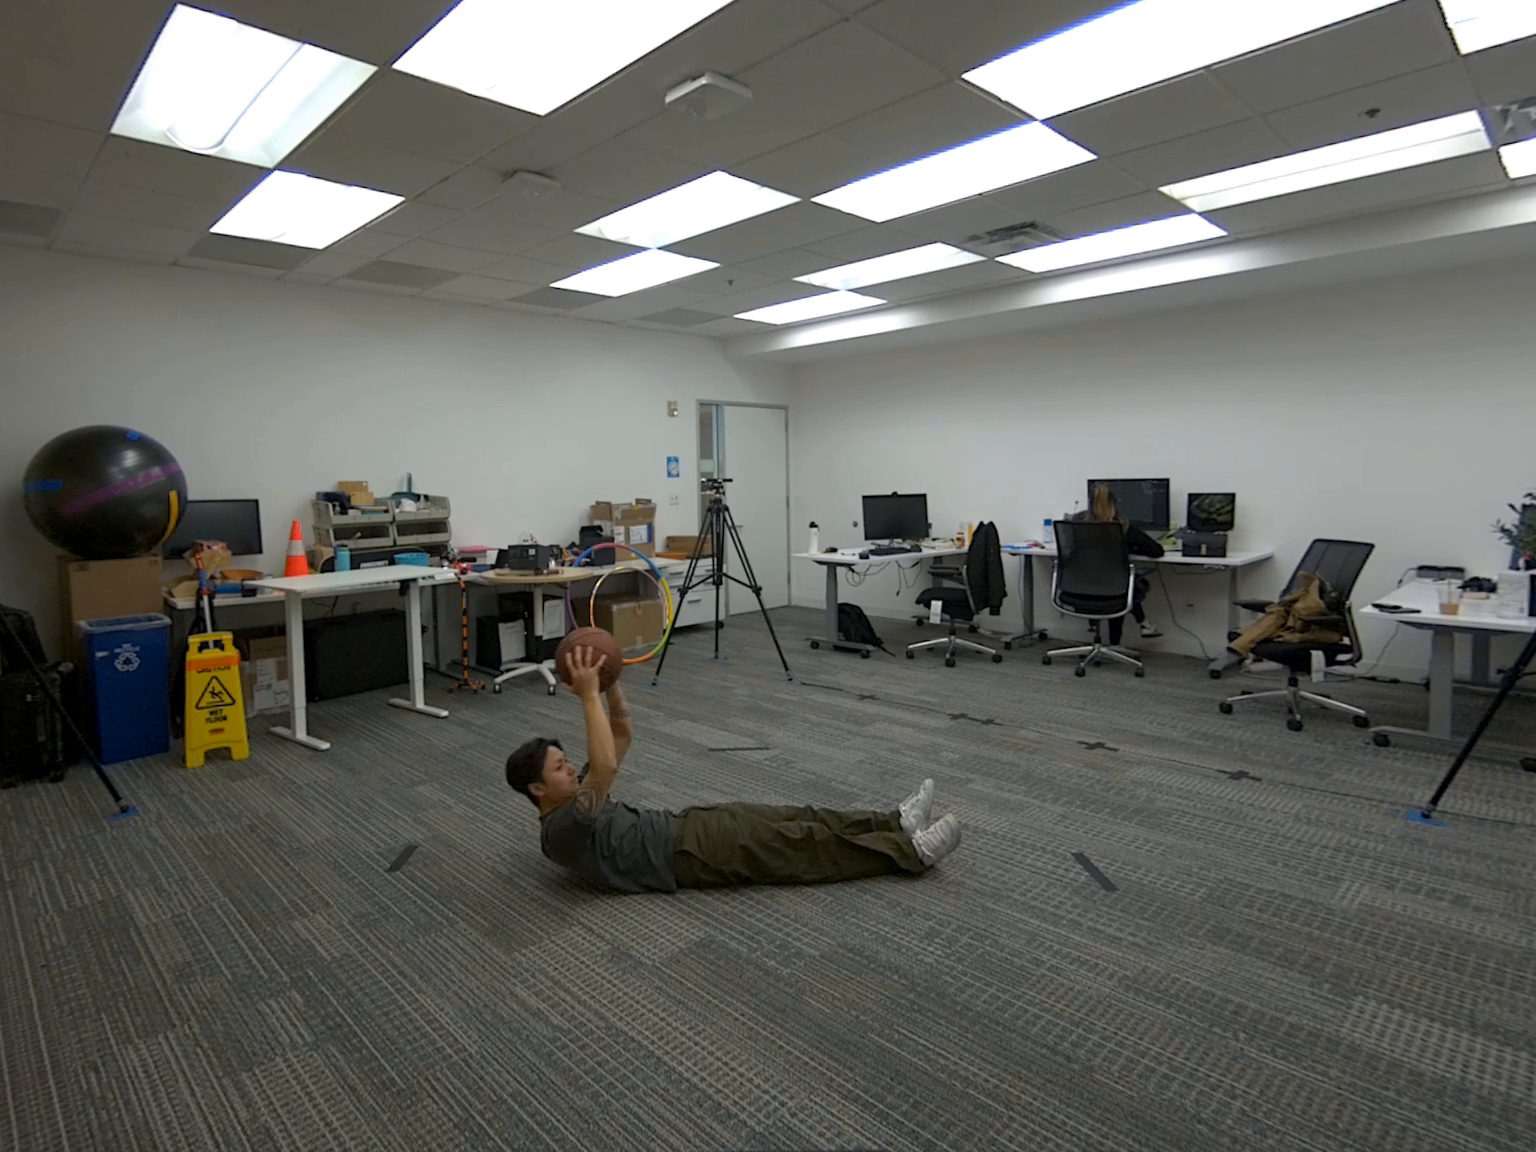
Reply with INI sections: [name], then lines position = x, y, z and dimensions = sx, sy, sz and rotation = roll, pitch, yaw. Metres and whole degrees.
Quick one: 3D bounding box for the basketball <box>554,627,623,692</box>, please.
[basketball]
position = -0.657, 0.317, 3.013
dimensions = 0.236, 0.235, 0.237
rotation = -1, 5, -2
